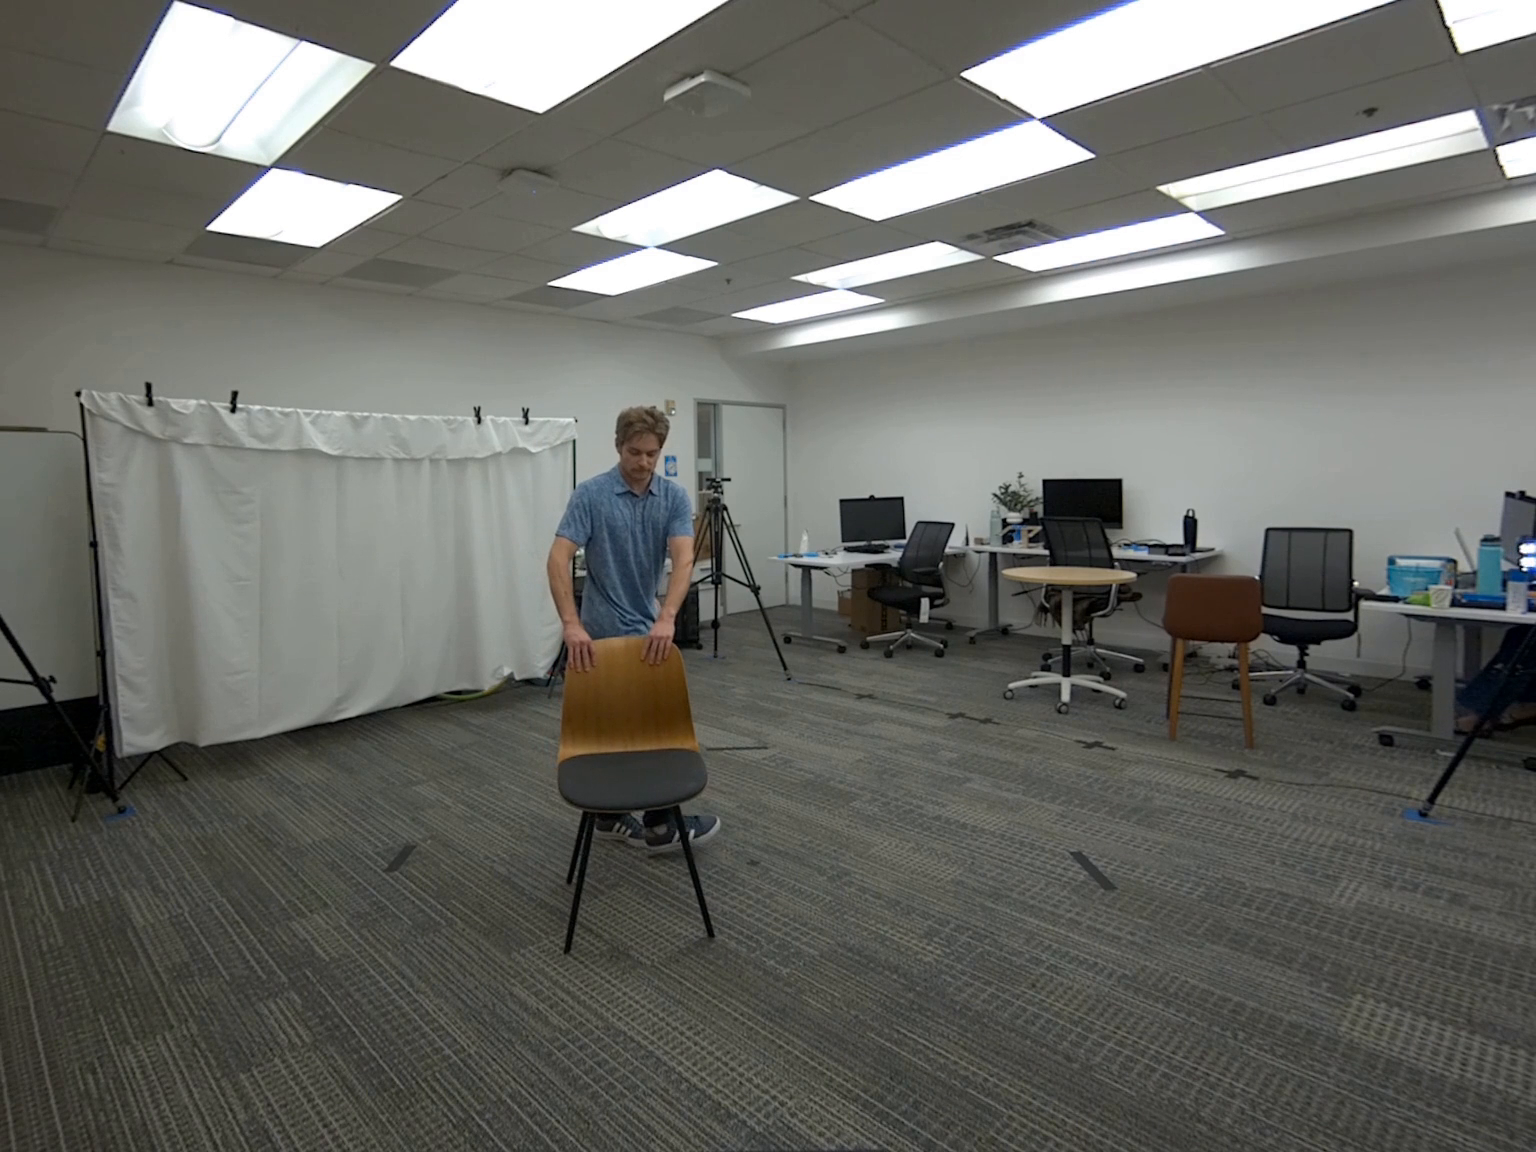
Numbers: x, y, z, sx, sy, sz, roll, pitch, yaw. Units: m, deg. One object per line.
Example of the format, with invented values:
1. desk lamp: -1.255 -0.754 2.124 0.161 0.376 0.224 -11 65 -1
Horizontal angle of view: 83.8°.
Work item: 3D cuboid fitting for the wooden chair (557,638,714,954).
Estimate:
1. wooden chair: -0.432 0.662 2.739 0.473 0.877 0.529 -1 0 -12
